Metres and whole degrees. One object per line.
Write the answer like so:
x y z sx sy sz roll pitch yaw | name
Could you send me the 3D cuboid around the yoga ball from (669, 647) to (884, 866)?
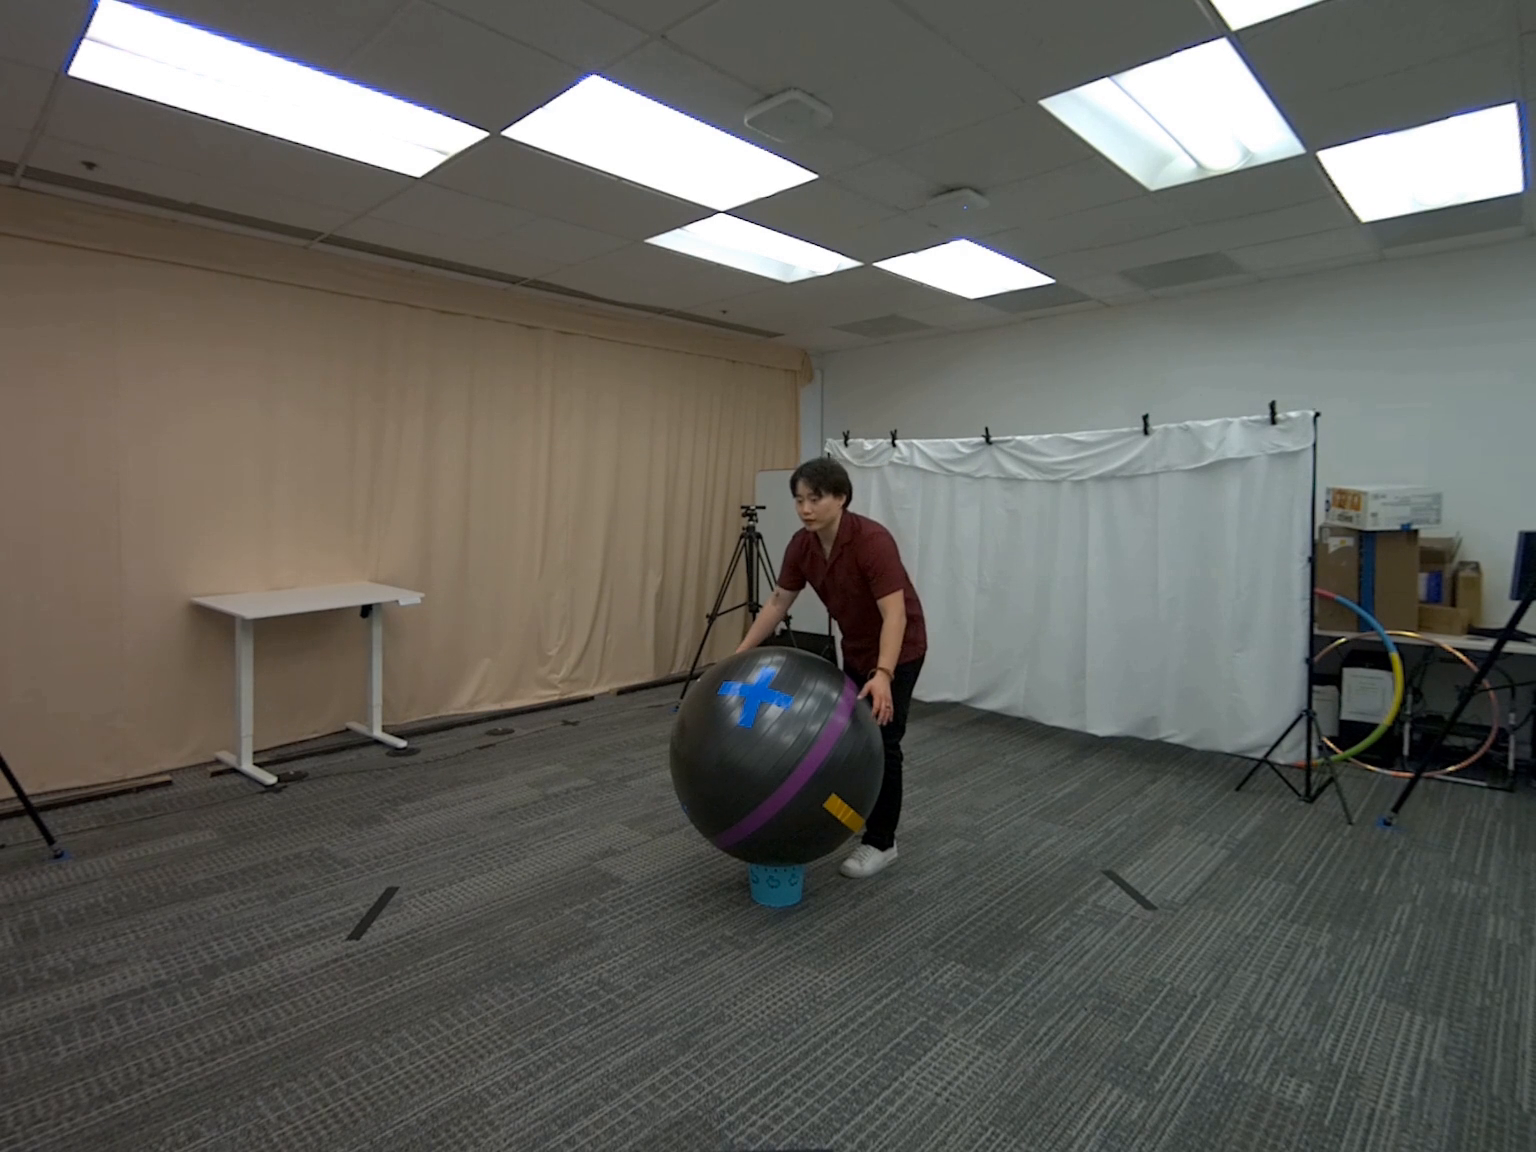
0.025 0.630 2.995 0.757 0.756 0.761 0 4 -2 | yoga ball
